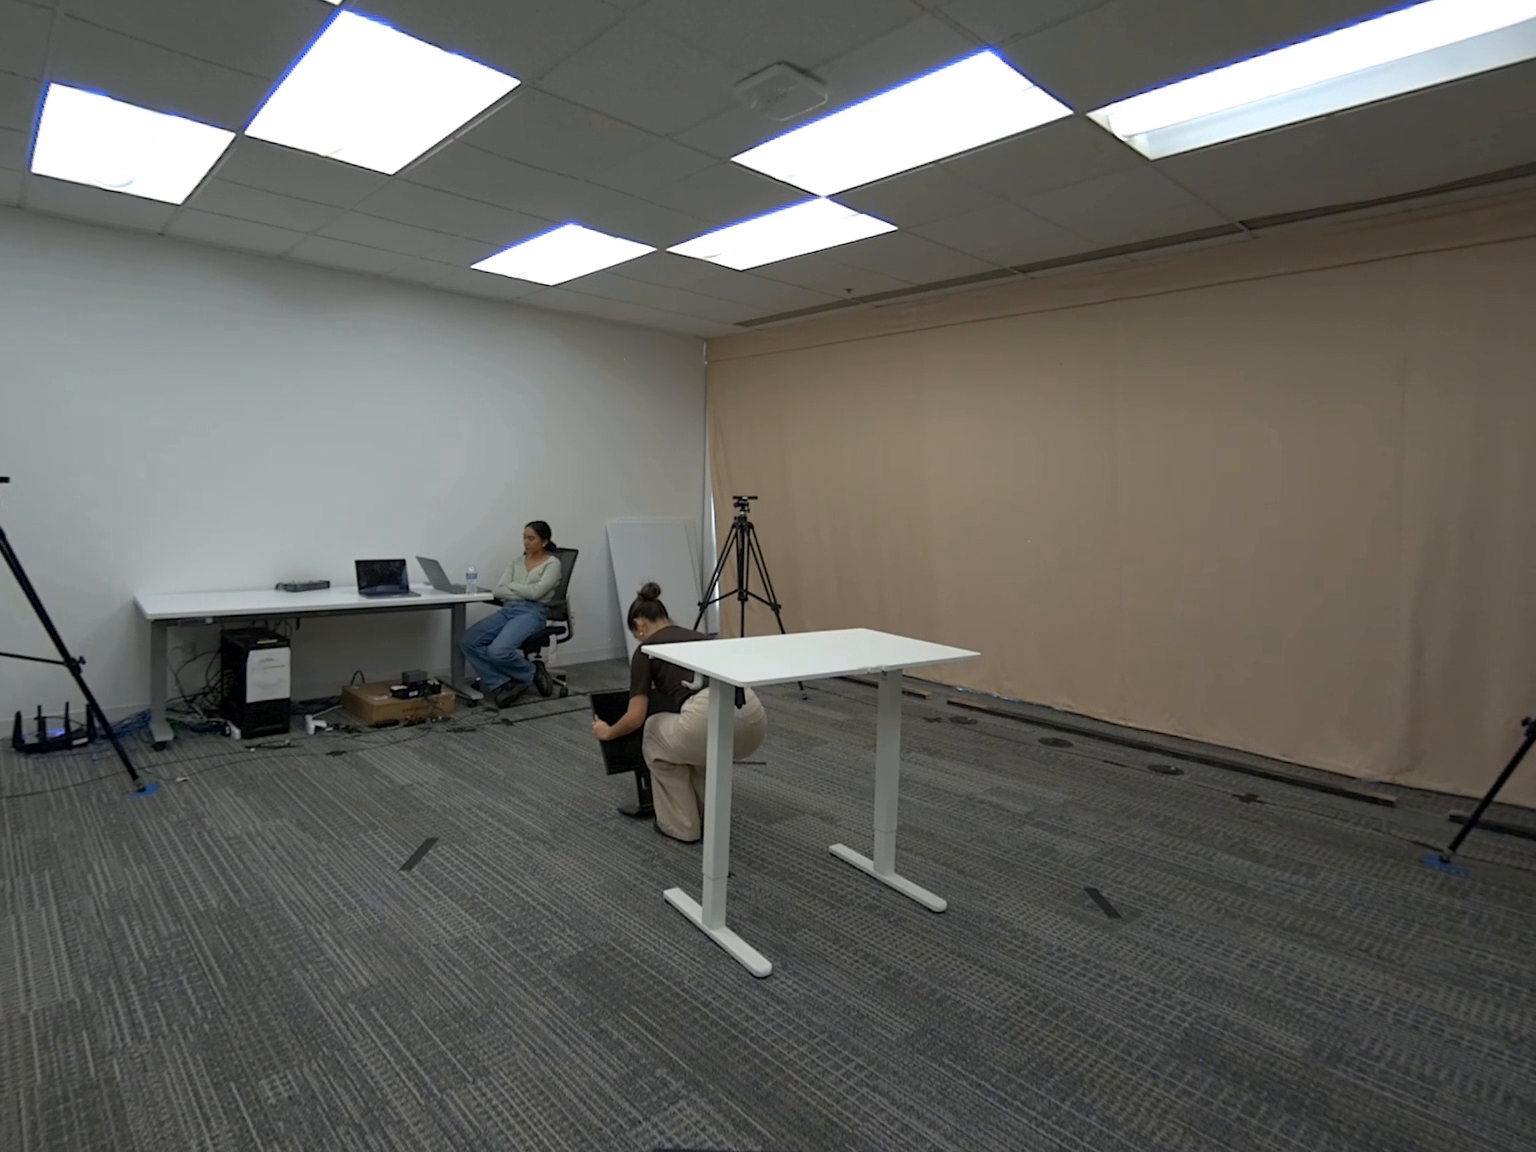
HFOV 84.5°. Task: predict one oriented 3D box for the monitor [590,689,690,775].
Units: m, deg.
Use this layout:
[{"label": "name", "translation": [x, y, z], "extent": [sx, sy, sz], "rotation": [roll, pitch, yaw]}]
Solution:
[{"label": "monitor", "translation": [-0.558, 0.775, 3.761], "extent": [0.526, 0.526, 0.190], "rotation": [1, -11, -44]}]
